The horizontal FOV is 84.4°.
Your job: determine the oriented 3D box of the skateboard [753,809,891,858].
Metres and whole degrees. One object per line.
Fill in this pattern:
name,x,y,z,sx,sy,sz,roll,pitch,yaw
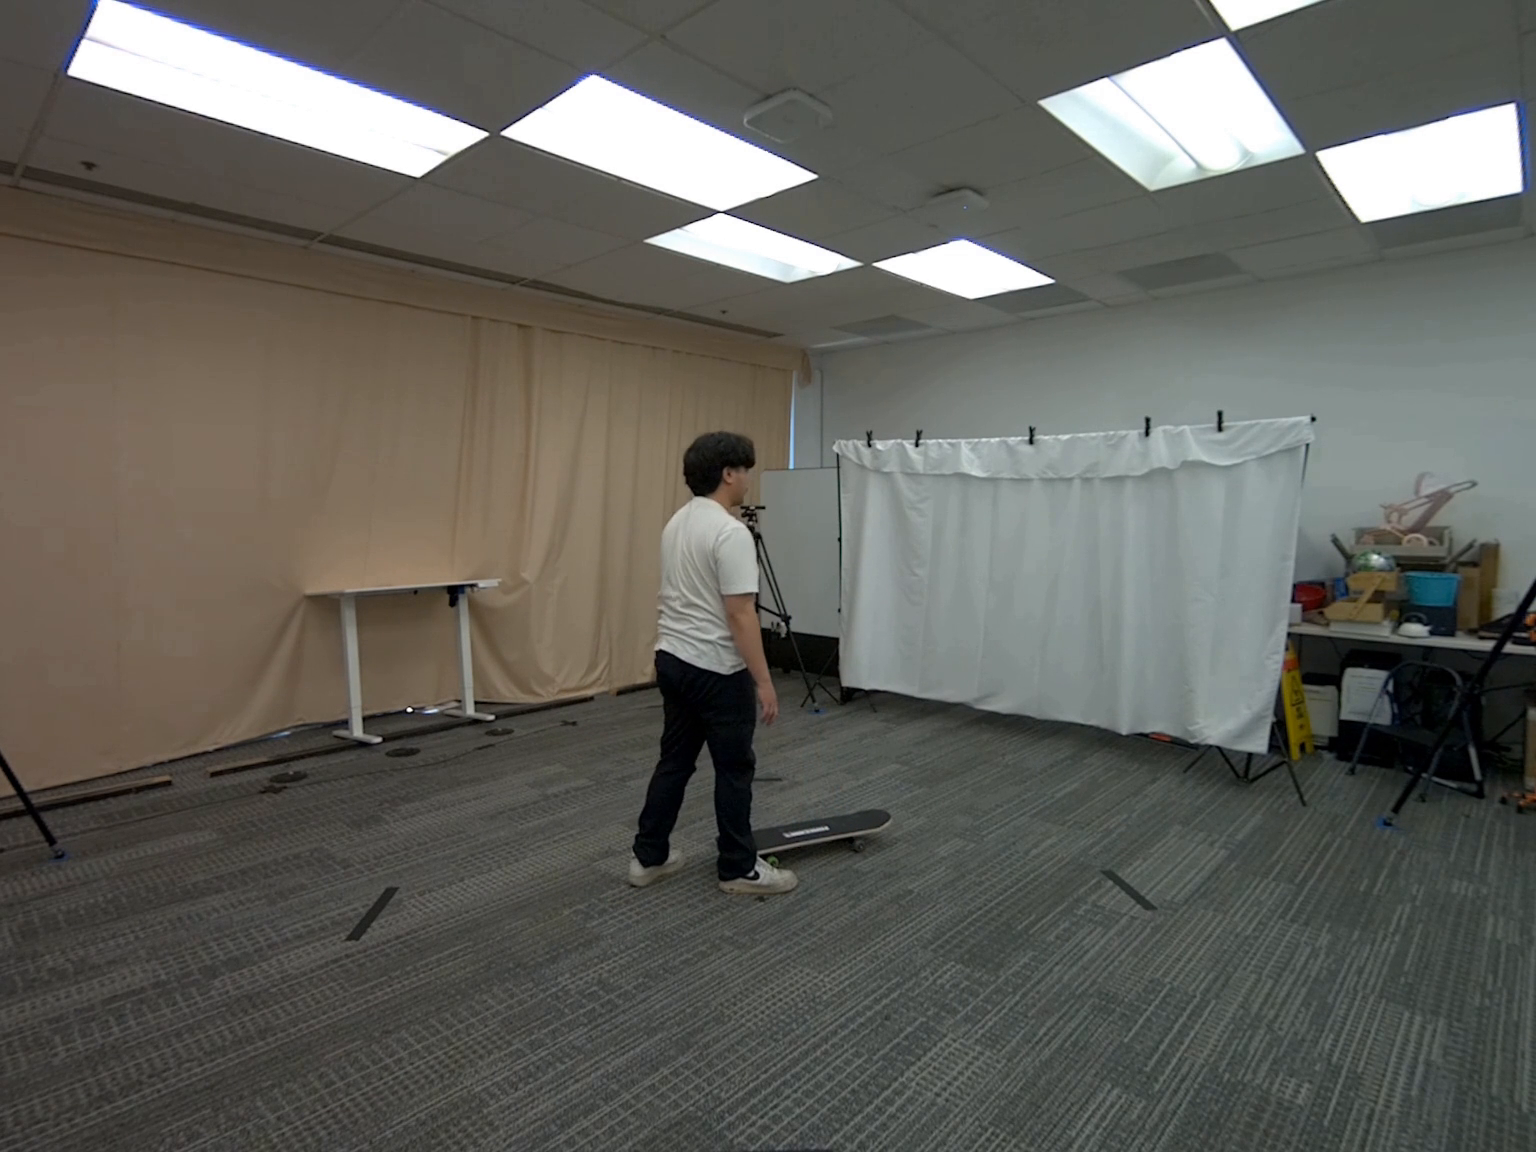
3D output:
skateboard,0.153,1.058,3.370,0.767,0.110,0.198,-2,5,-25
